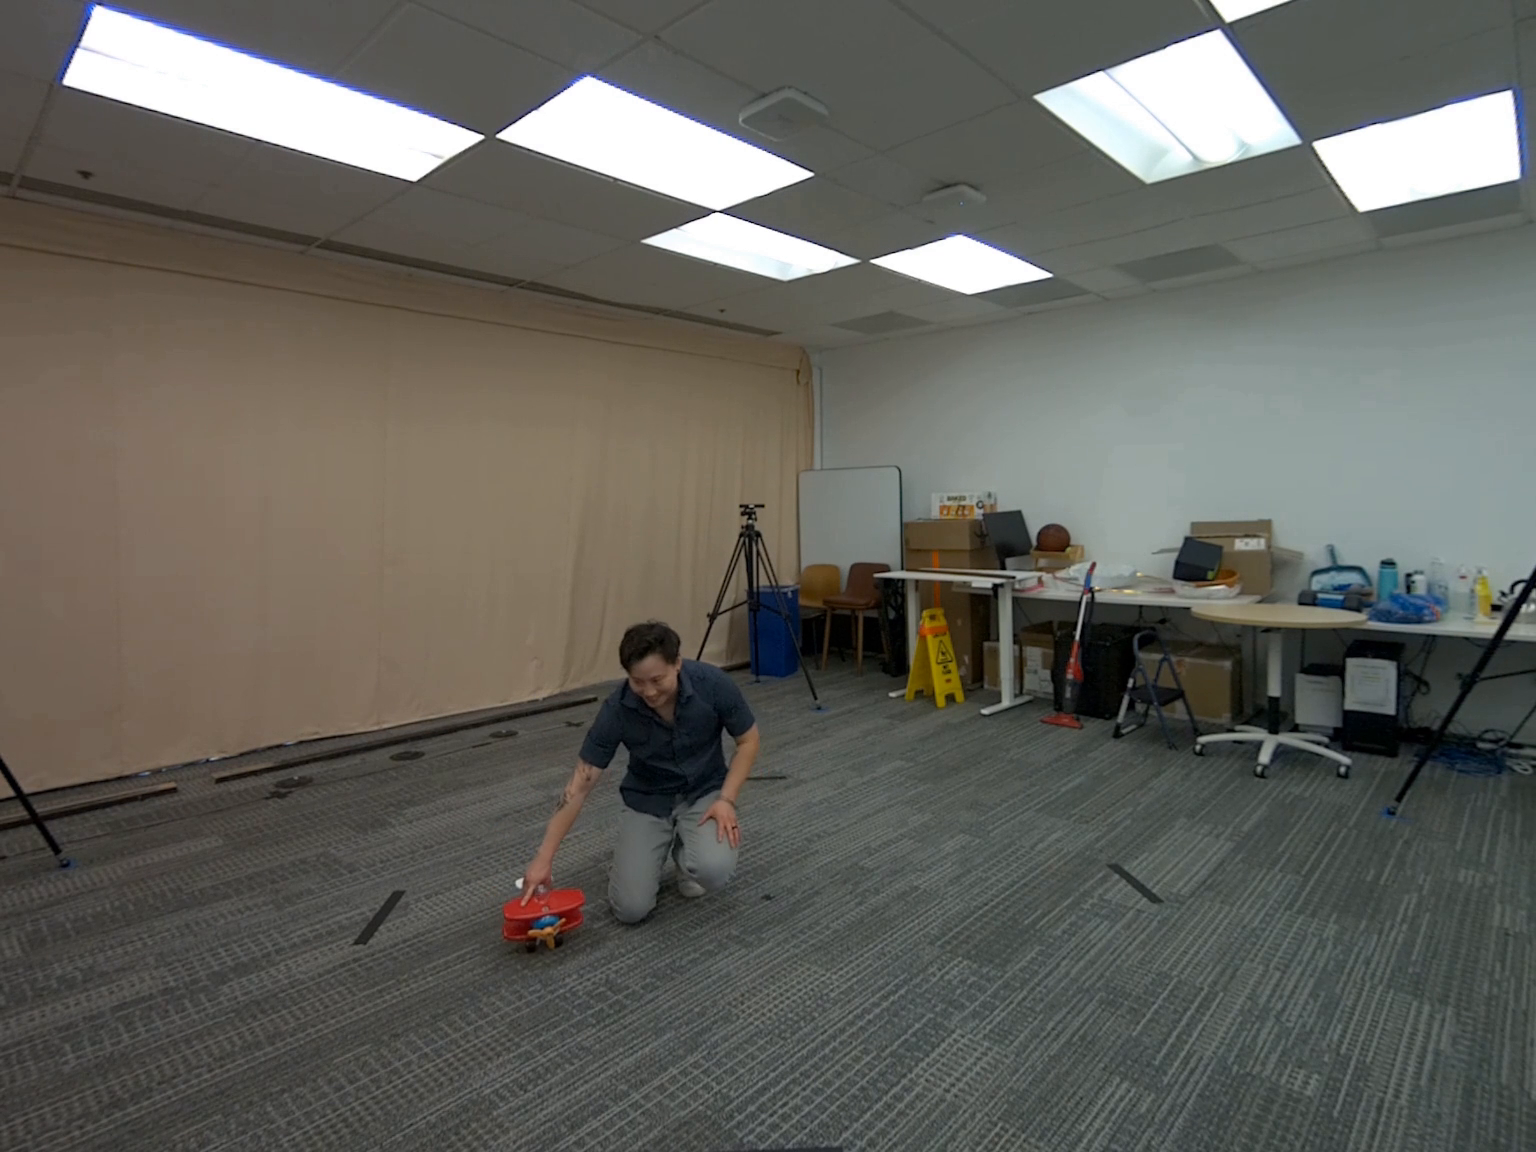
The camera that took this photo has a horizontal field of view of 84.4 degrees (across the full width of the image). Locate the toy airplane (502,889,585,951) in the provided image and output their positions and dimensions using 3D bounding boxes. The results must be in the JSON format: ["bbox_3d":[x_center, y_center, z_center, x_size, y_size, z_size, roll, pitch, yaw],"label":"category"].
[{"bbox_3d":[-0.743,1.077,2.688,0.267,0.155,0.246,33,38,25],"label":"toy airplane"}]
